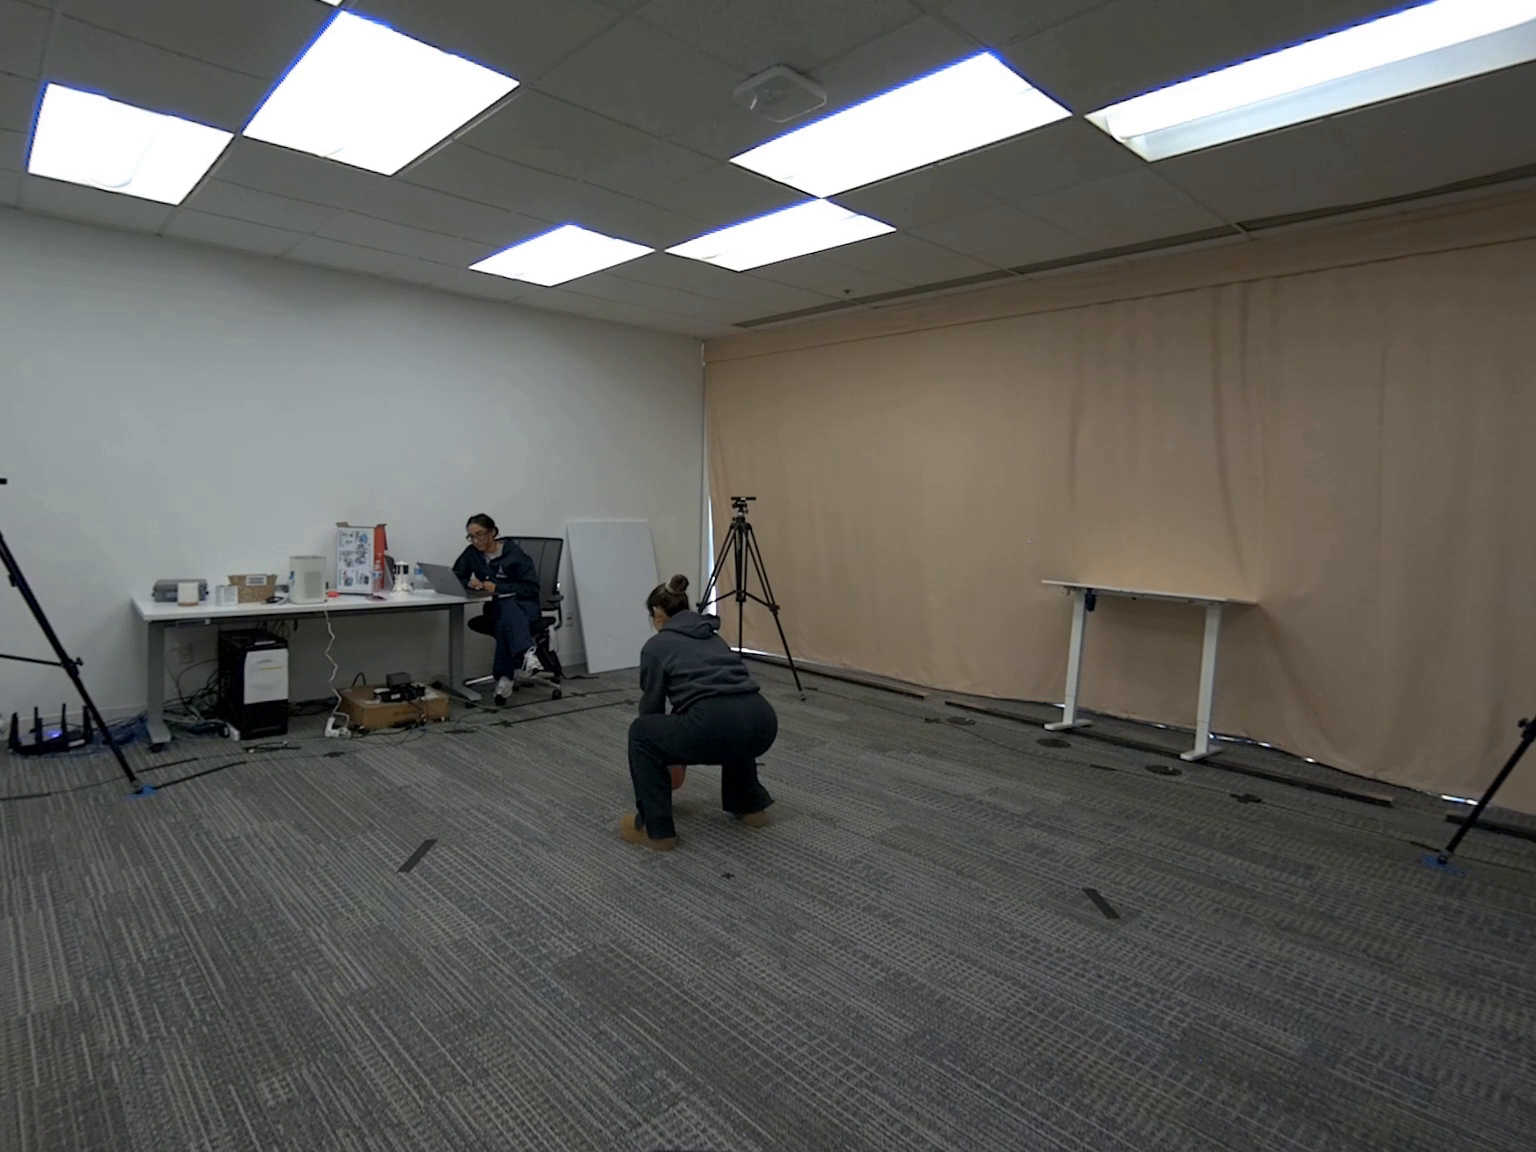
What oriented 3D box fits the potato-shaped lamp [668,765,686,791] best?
[{"bbox_3d":[-0.470,0.860,3.781,0.162,0.200,0.173,-1,-13,-27],"label":"potato-shaped lamp"}]
